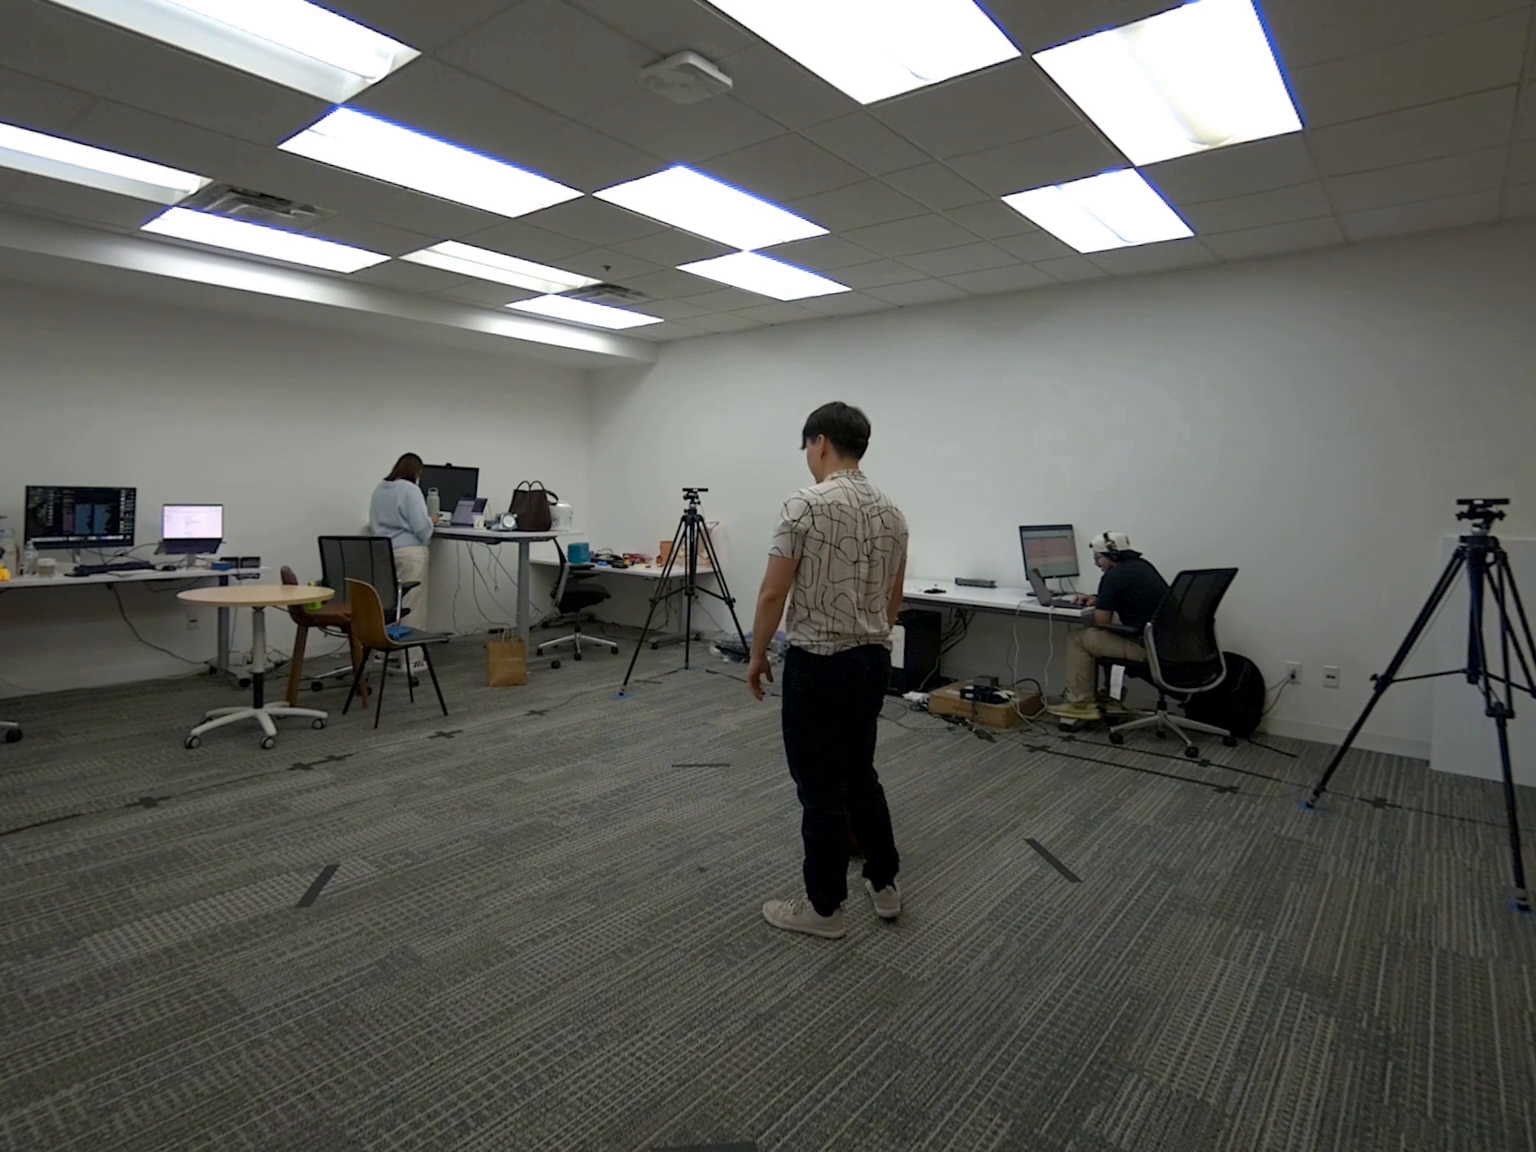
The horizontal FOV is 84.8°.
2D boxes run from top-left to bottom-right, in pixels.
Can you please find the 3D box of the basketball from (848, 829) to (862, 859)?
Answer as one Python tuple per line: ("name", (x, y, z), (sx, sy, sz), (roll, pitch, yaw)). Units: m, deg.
("basketball", (0.317, 0.937, 3.300), (0.235, 0.235, 0.237), (1, 4, -2))
